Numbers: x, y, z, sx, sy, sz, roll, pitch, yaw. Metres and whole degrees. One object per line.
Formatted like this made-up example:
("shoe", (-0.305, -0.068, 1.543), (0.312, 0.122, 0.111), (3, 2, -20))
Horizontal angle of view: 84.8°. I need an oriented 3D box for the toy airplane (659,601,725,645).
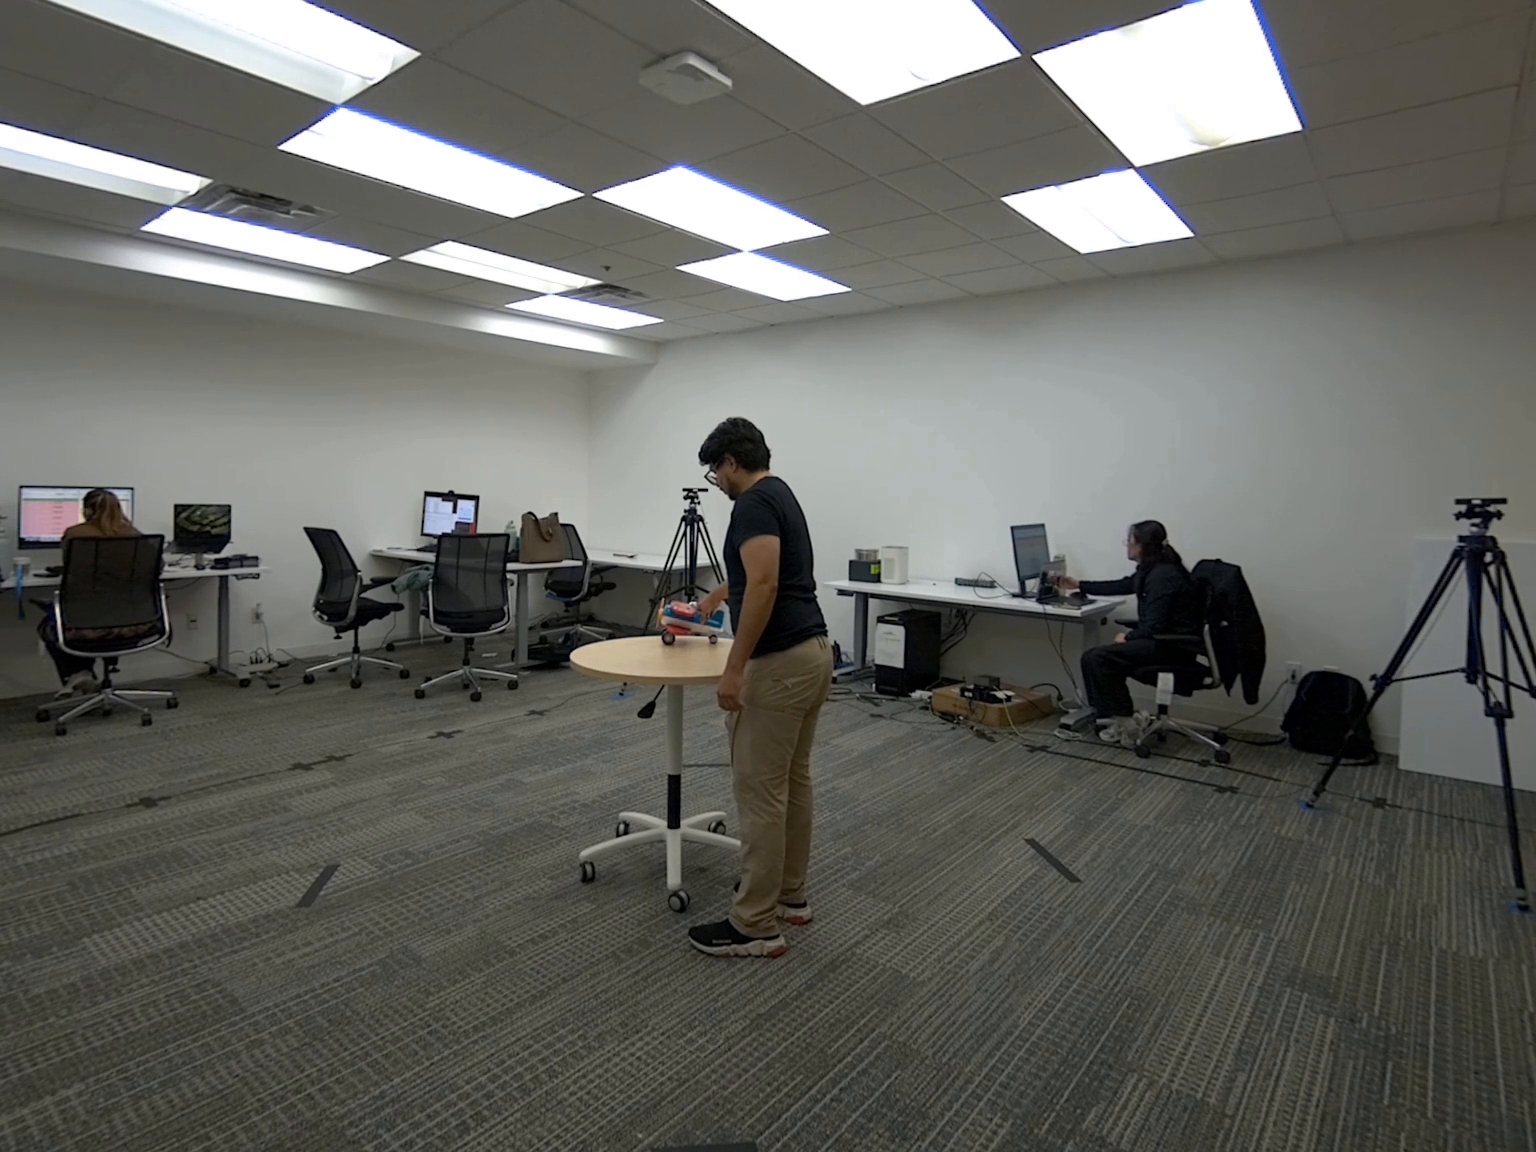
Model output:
("toy airplane", (-0.322, 0.183, 3.358), (0.252, 0.156, 0.259), (-4, 7, -35))
